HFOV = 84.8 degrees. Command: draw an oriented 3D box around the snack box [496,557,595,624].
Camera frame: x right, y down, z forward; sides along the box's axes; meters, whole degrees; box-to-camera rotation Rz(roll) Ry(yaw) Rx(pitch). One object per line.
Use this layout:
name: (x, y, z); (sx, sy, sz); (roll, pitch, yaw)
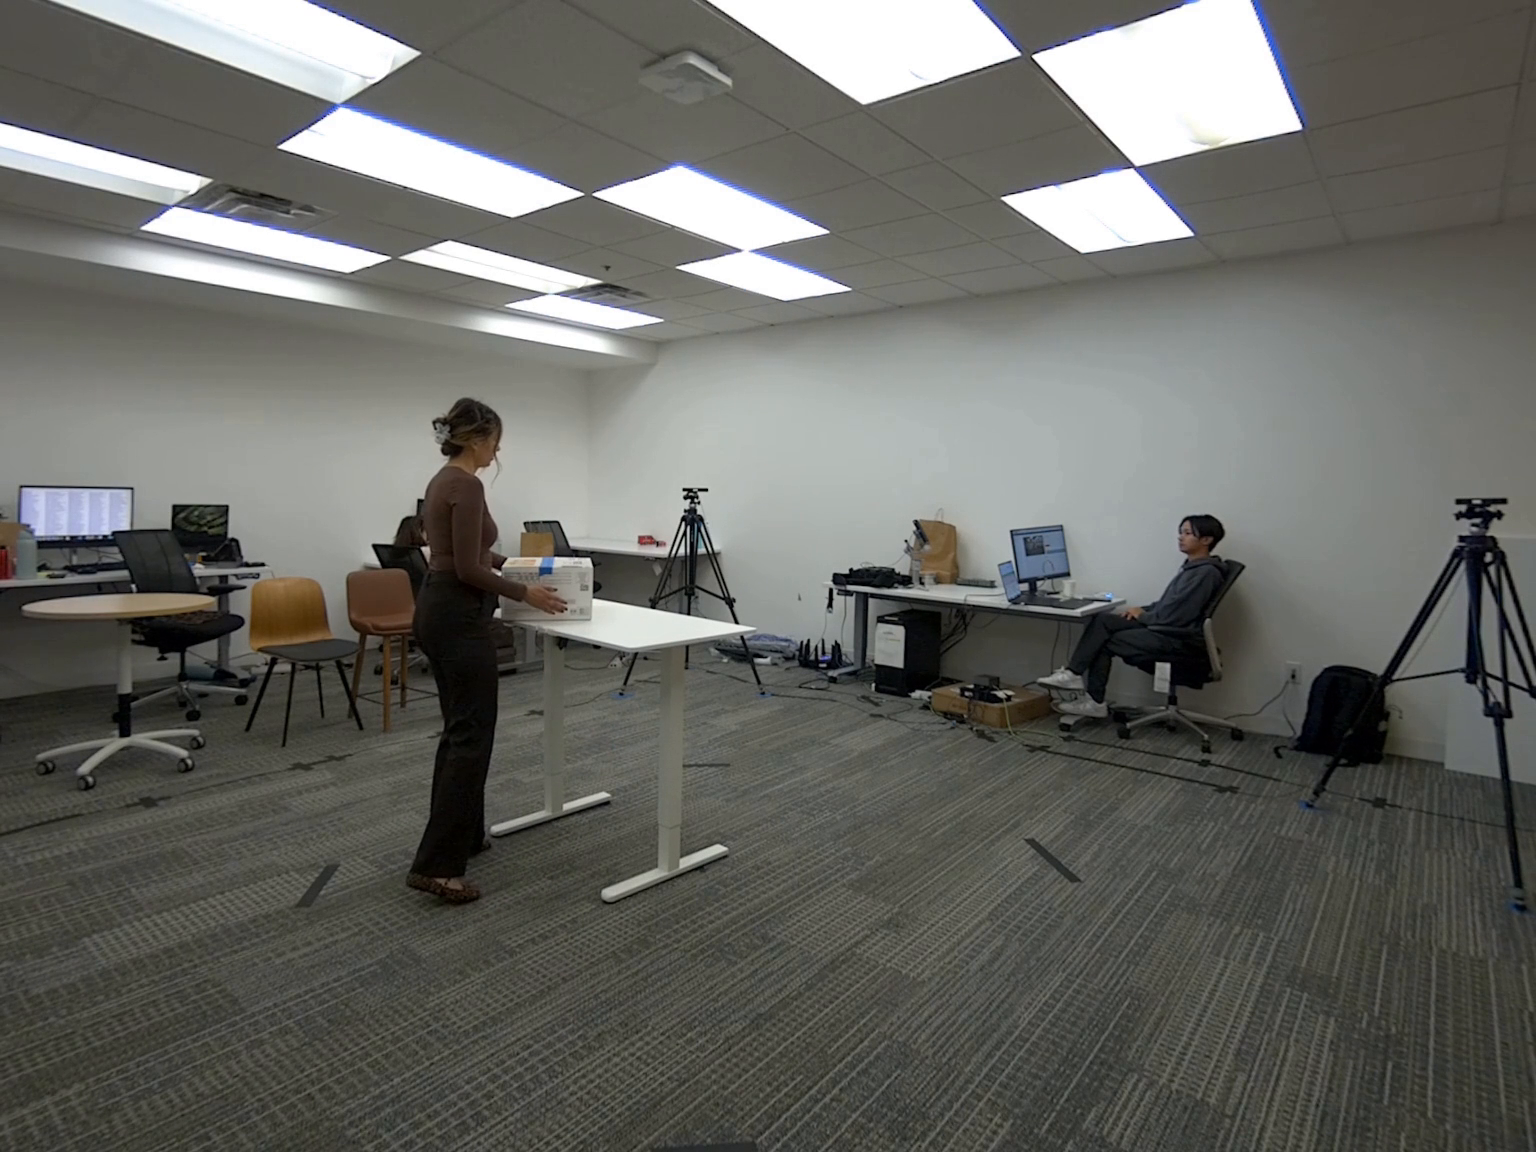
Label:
snack box: (-0.889, 0.047, 3.395); (0.337, 0.205, 0.411); (0, 6, -11)
